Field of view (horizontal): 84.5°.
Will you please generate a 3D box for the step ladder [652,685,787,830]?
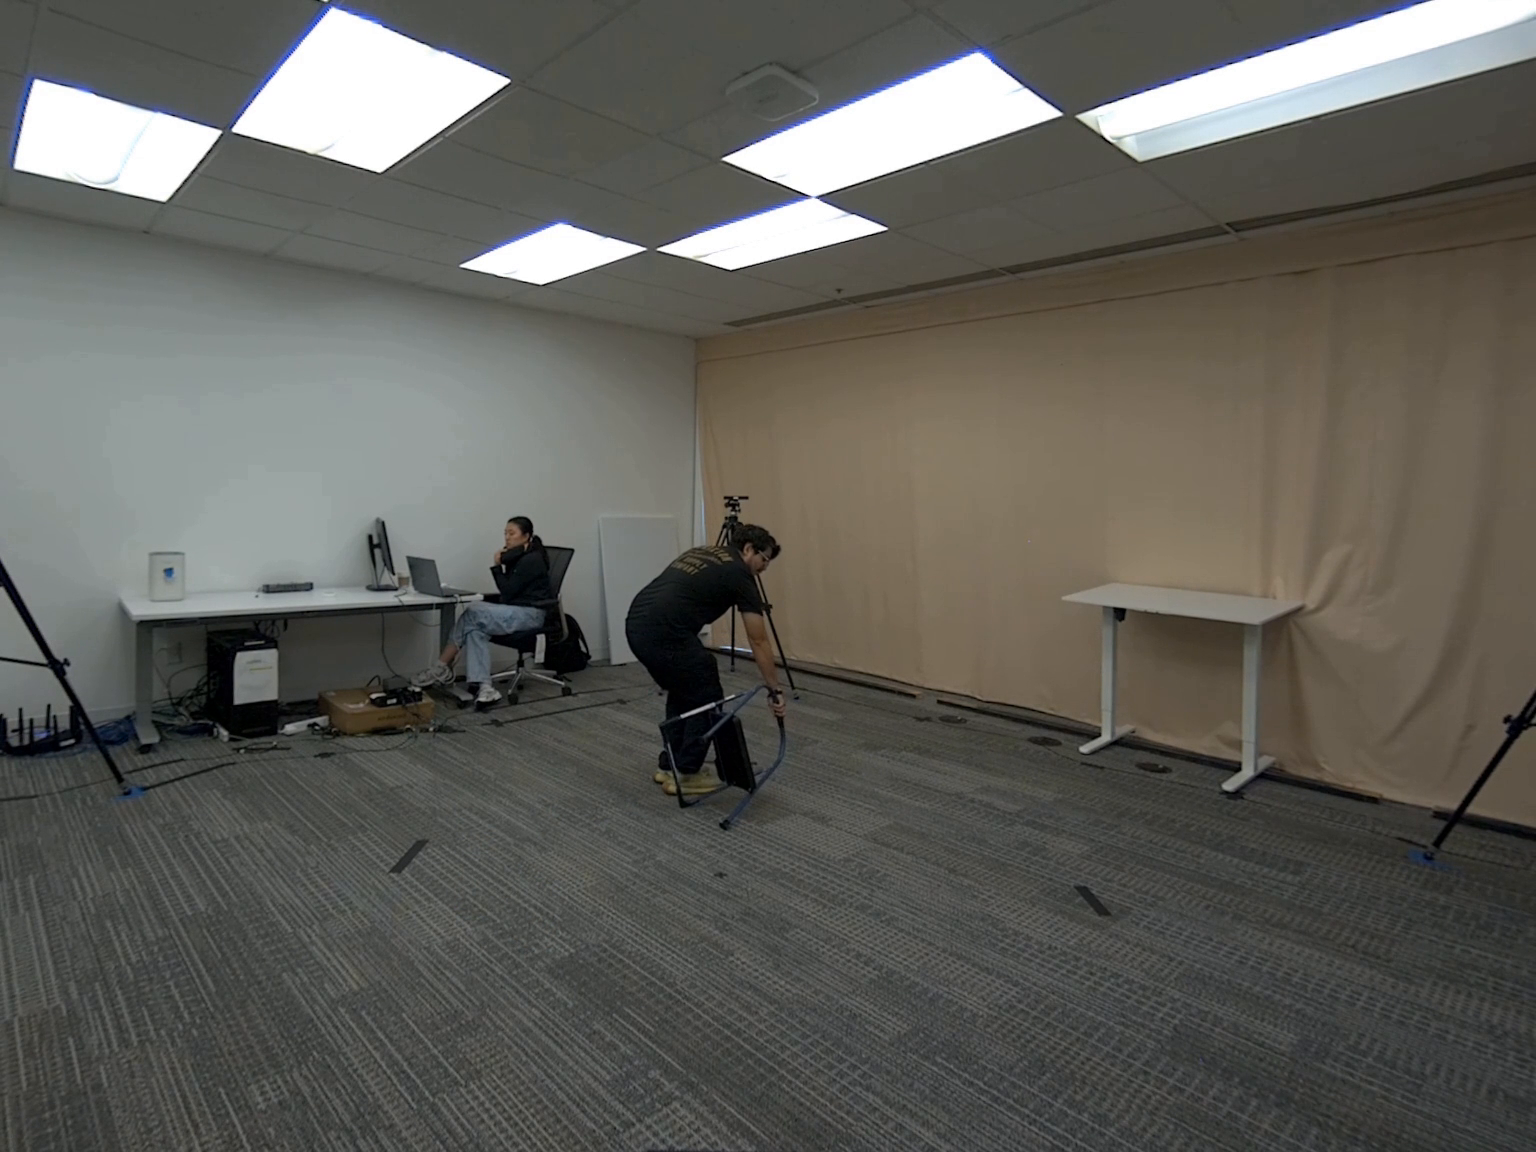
[{"bbox_3d":[-0.120,0.762,3.782,0.598,0.426,0.358,-22,17,-37],"label":"step ladder"}]
